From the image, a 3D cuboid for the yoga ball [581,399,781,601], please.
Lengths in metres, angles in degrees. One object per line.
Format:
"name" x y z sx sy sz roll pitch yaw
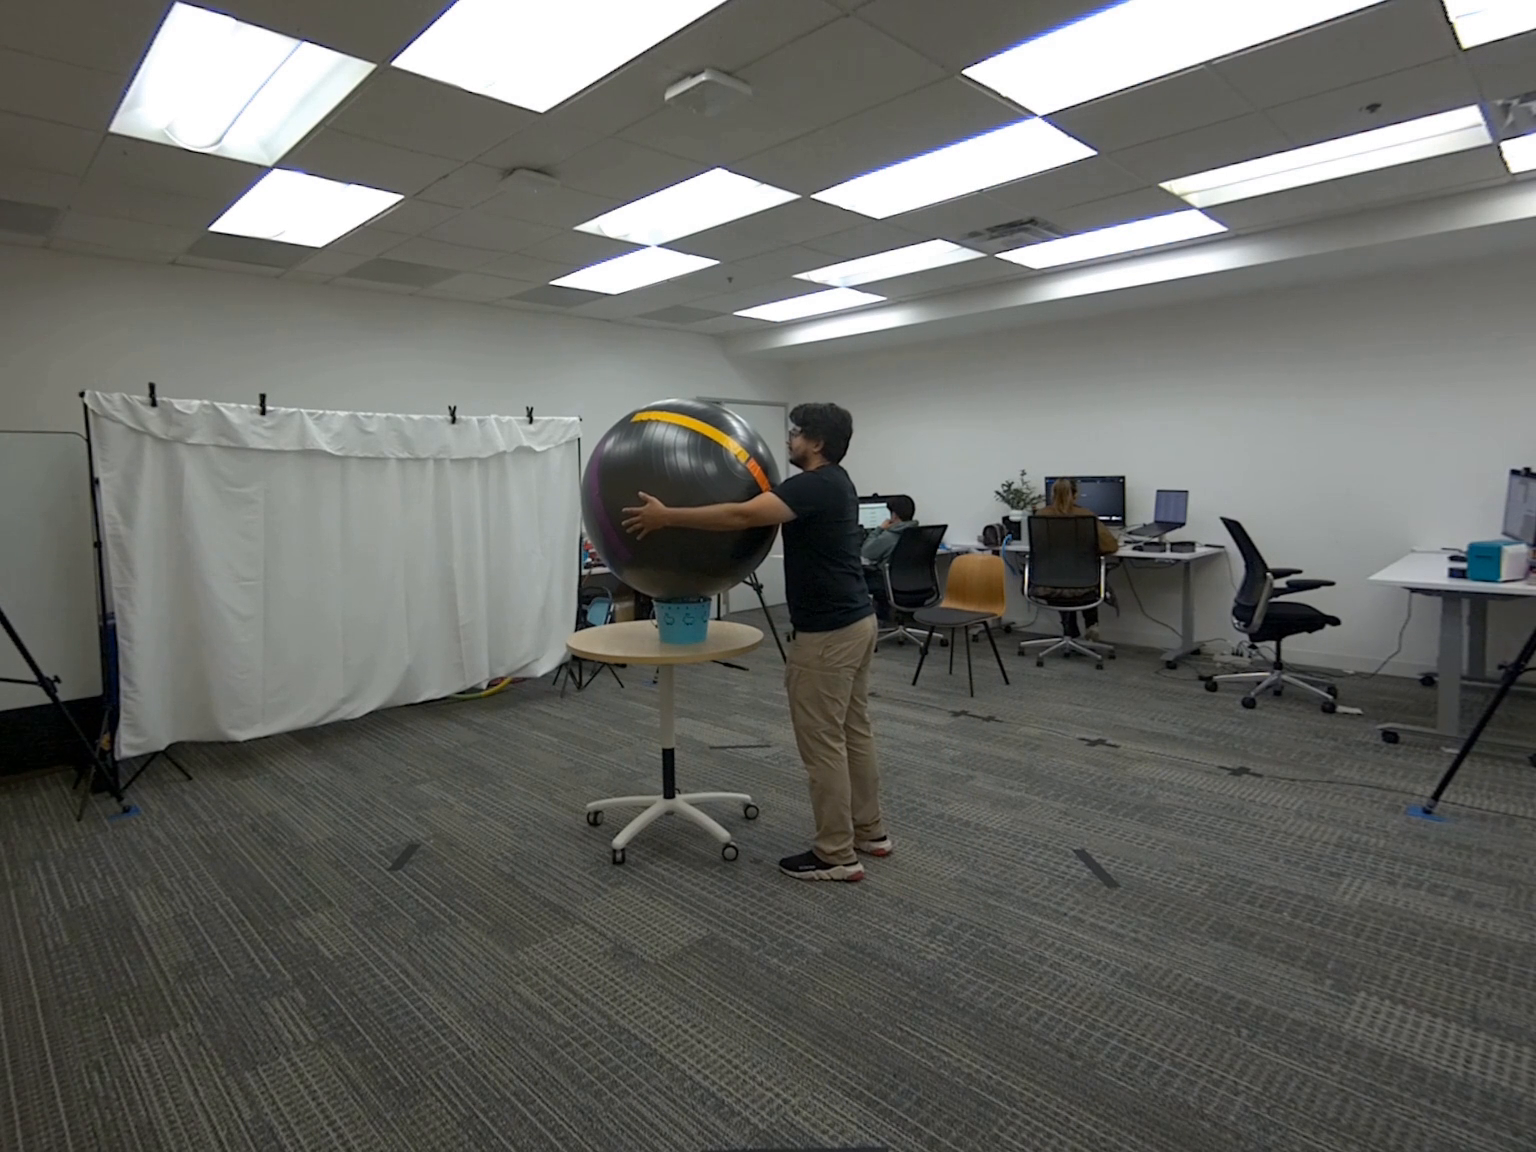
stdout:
"yoga ball" -0.326 -0.283 3.223 0.757 0.755 0.762 -1 5 -2
